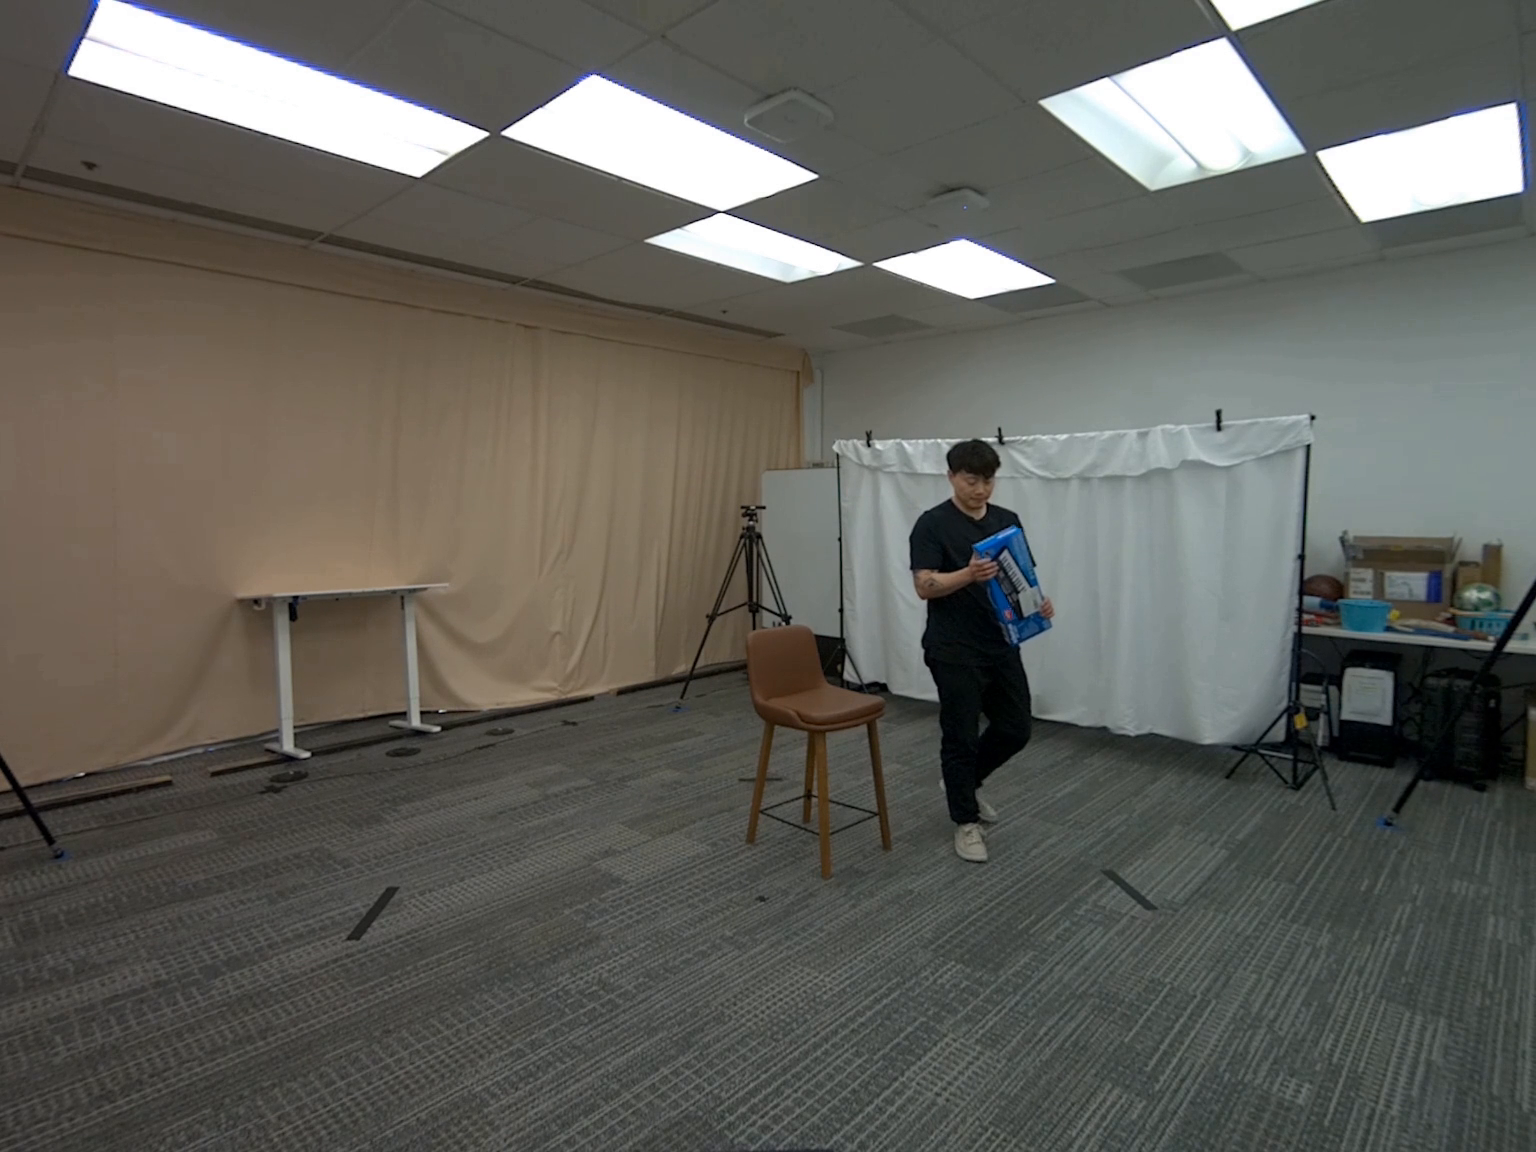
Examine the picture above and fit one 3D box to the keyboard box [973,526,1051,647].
[{"bbox_3d":[0.903,0.042,3.134,0.176,0.428,0.060,-23,21,-2],"label":"keyboard box"}]
